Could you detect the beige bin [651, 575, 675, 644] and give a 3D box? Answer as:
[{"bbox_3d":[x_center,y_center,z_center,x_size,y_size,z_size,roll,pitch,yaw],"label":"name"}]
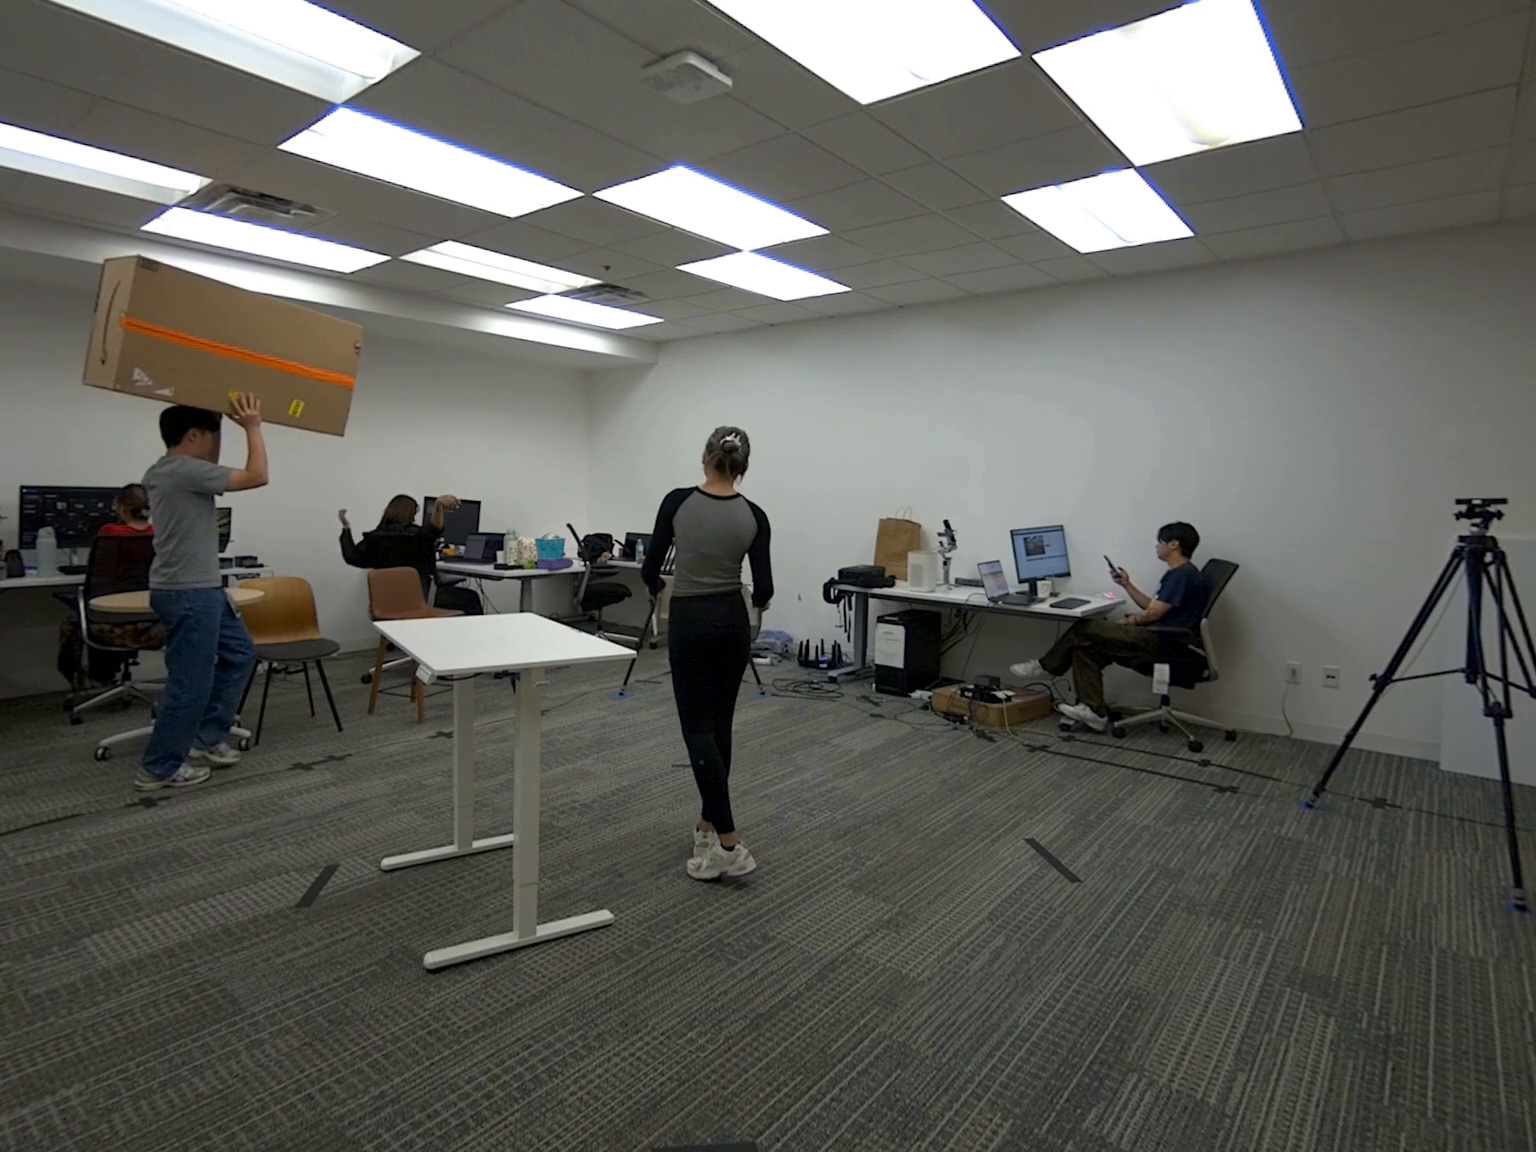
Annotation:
[{"bbox_3d":[-0.268,0.136,3.515,0.418,0.188,0.384,4,8,-10],"label":"beige bin"}]
